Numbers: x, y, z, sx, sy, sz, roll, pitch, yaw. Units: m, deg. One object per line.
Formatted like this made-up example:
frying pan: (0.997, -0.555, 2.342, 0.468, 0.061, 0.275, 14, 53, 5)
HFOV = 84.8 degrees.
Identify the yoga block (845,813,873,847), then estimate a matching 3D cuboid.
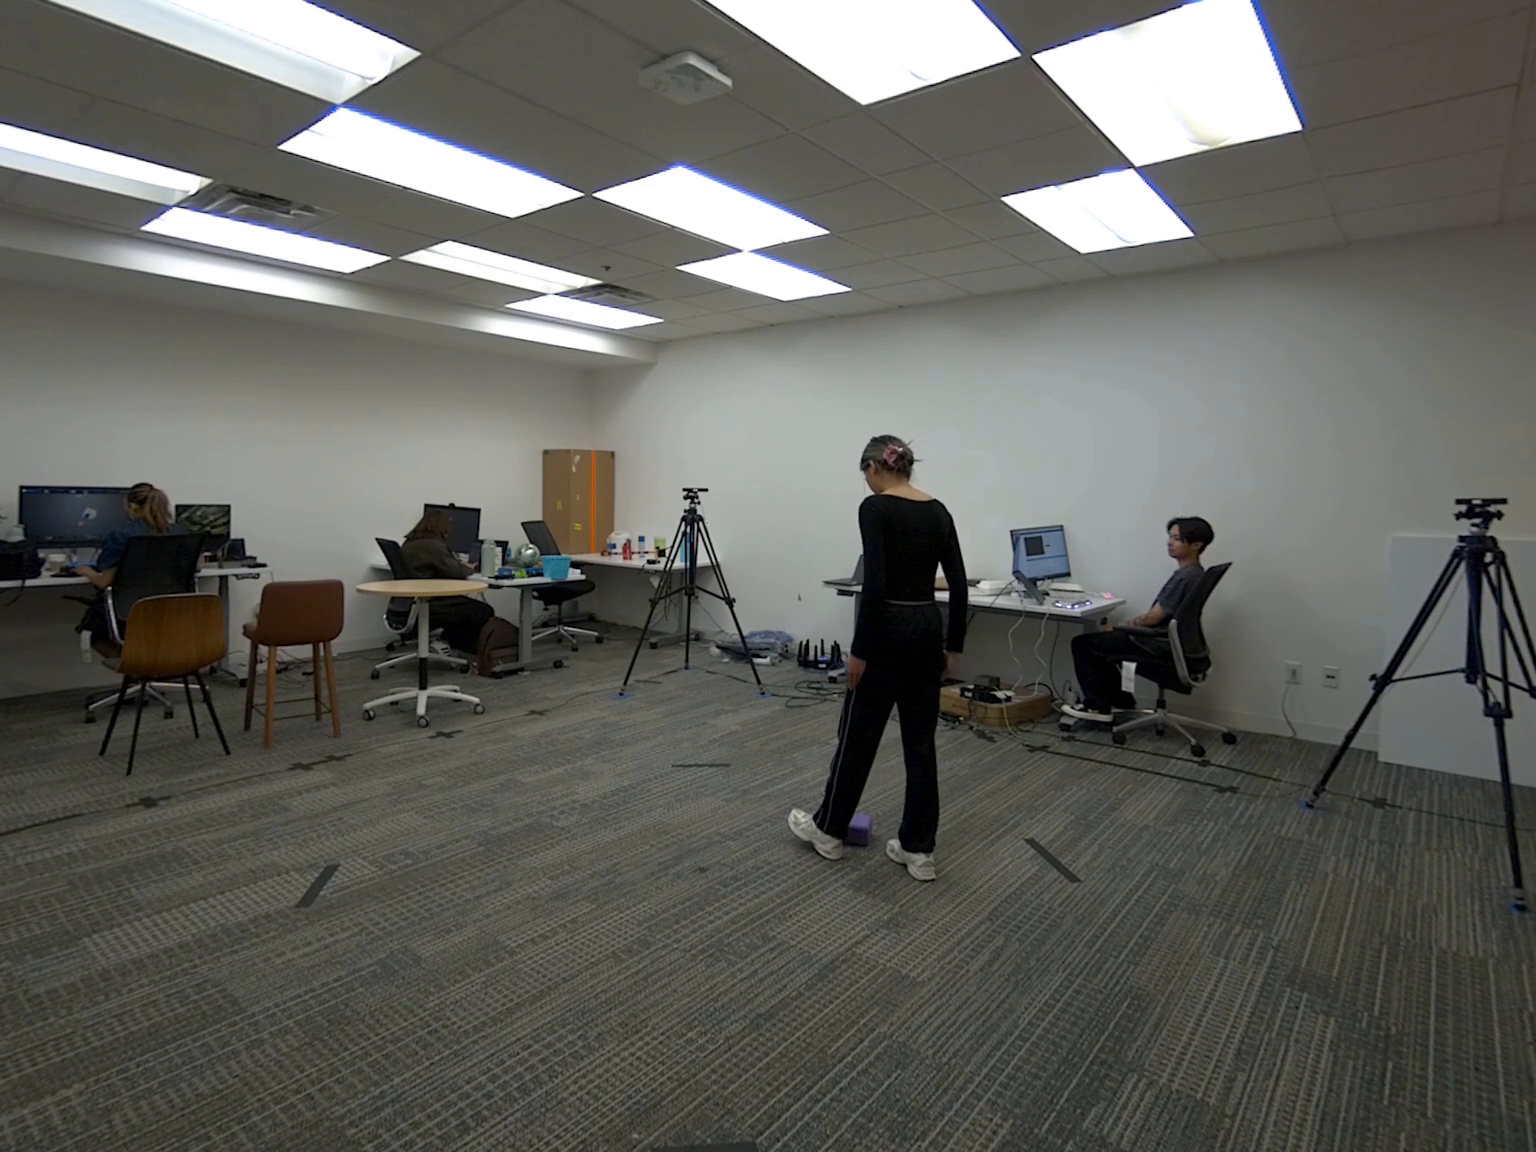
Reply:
yoga block: (0.289, 1.005, 3.430, 0.233, 0.076, 0.147, 2, 6, 16)
